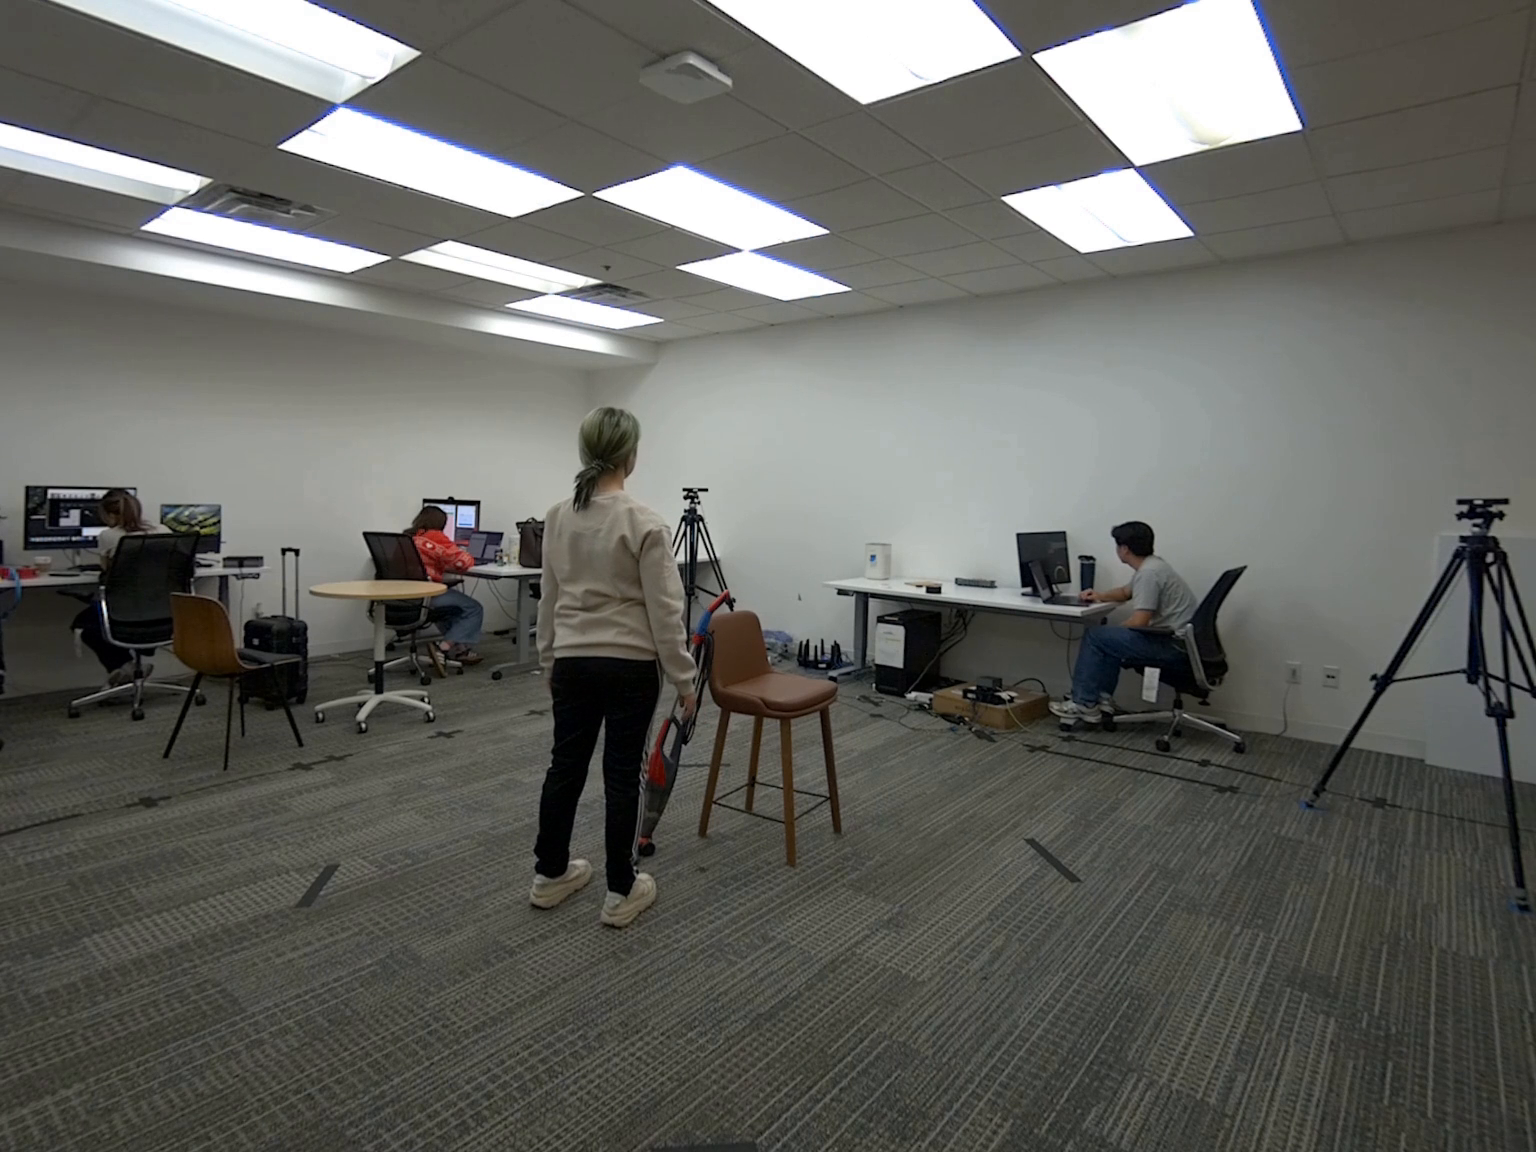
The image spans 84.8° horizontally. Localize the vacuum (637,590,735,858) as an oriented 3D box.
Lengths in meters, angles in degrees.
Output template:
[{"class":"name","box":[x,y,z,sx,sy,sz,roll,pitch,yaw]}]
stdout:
[{"class":"vacuum","box":[-0.359,0.557,3.292,0.139,1.052,0.260,21,-5,-27]}]
